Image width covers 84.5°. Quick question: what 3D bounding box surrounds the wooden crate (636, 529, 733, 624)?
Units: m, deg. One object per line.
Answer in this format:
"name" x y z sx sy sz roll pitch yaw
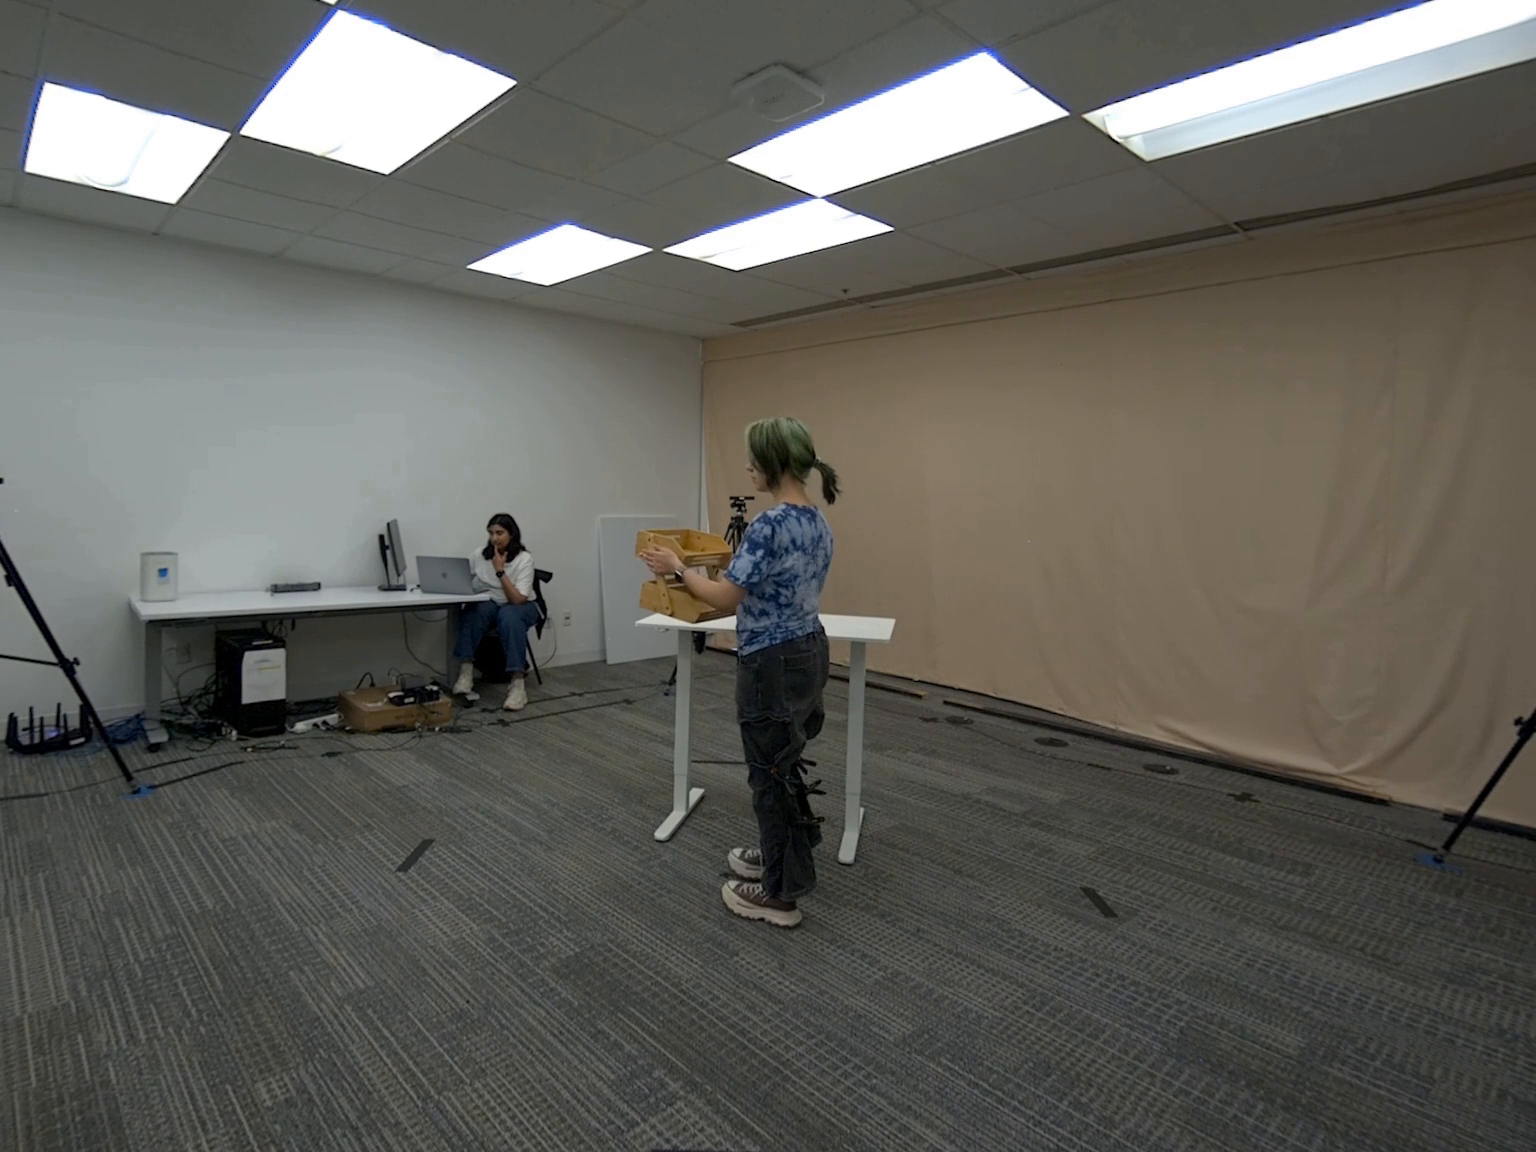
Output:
"wooden crate" -0.263 -0.007 2.939 0.309 0.272 0.318 15 11 29
